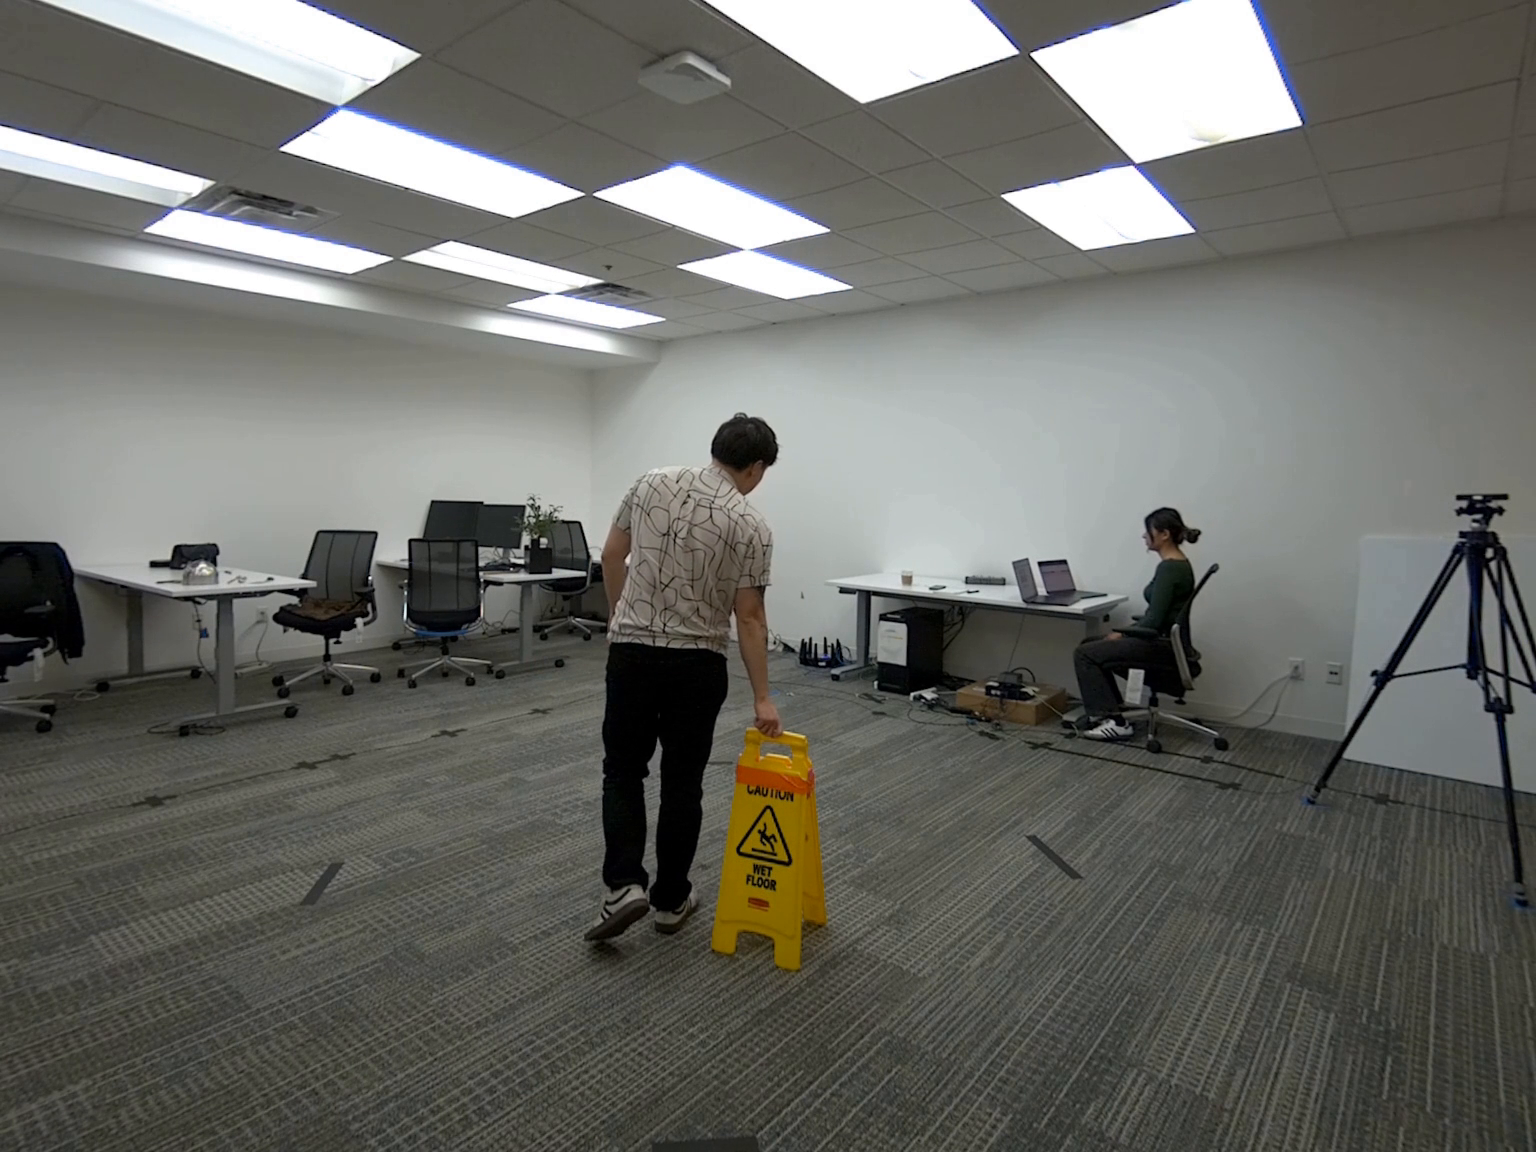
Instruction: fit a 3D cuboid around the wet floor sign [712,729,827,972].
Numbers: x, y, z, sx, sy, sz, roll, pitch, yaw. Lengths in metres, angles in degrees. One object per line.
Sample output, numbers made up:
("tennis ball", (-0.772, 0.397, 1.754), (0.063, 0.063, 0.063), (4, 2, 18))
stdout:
("wet floor sign", (0.010, 0.795, 2.622), (0.289, 0.644, 0.284), (3, 3, 21))
